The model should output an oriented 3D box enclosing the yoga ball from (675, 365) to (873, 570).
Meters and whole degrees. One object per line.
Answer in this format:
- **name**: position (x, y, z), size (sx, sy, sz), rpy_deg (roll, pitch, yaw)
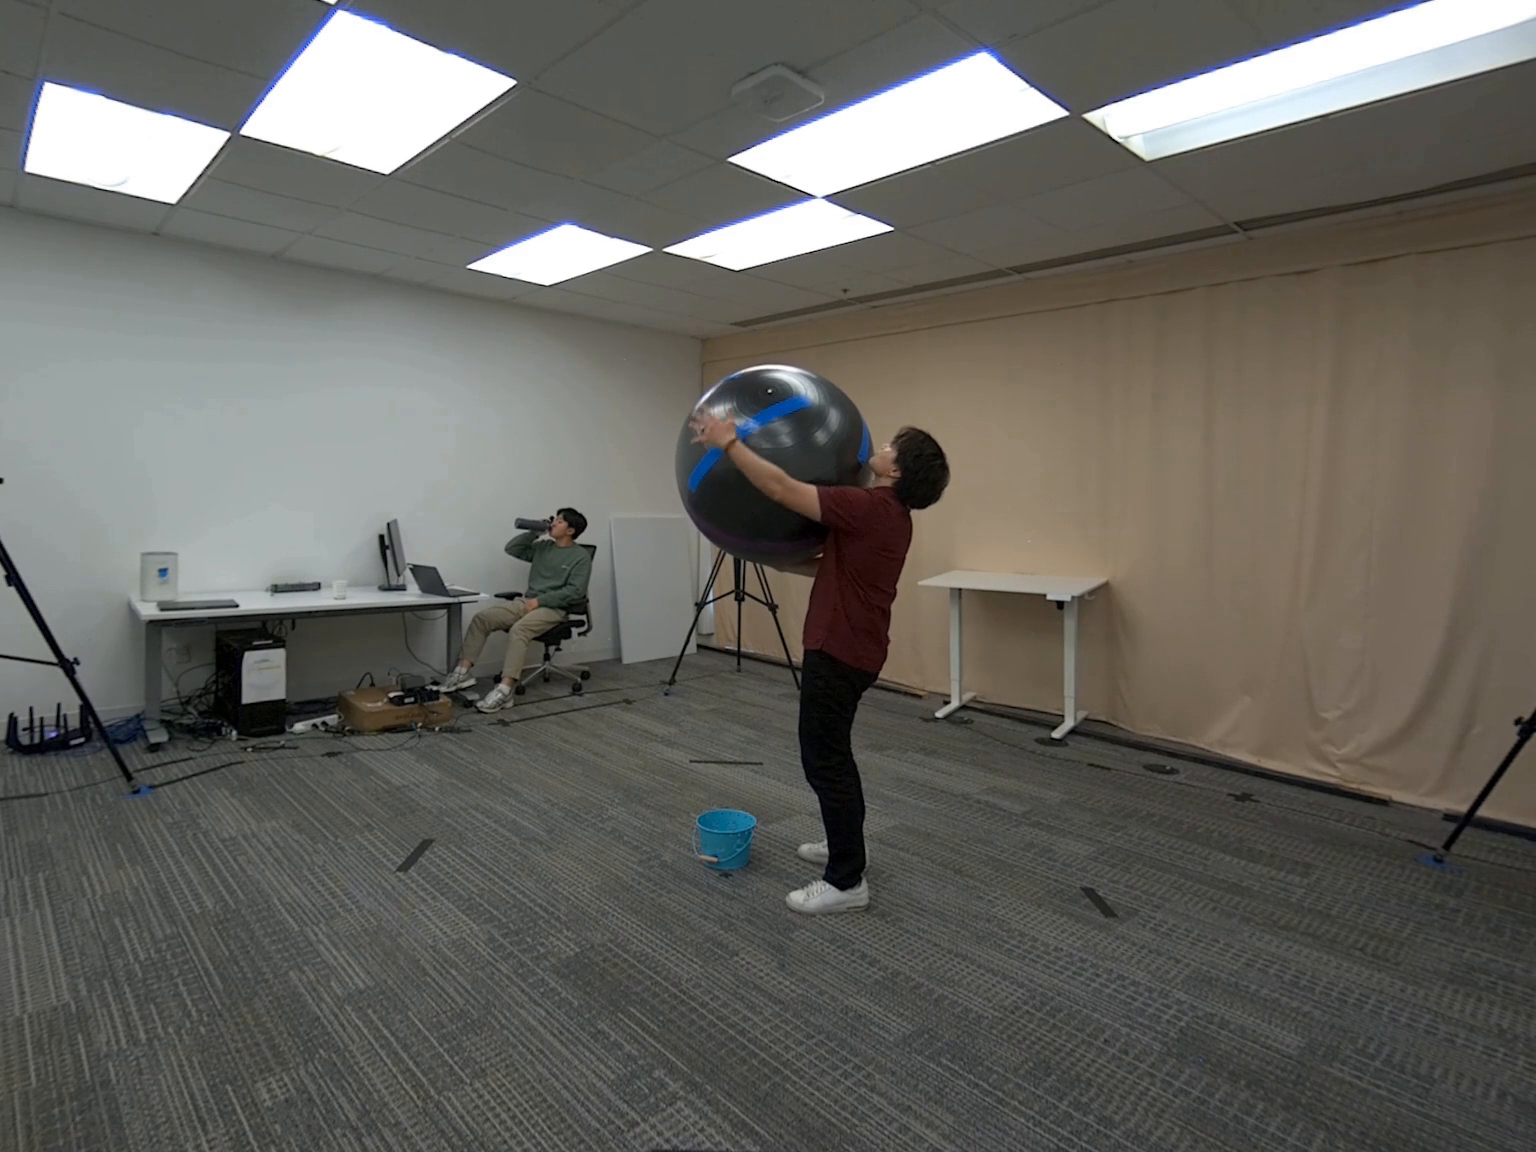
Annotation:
- **yoga ball**: position (0.017, -0.416, 3.214), size (0.757, 0.756, 0.761), rpy_deg (1, 4, -1)
